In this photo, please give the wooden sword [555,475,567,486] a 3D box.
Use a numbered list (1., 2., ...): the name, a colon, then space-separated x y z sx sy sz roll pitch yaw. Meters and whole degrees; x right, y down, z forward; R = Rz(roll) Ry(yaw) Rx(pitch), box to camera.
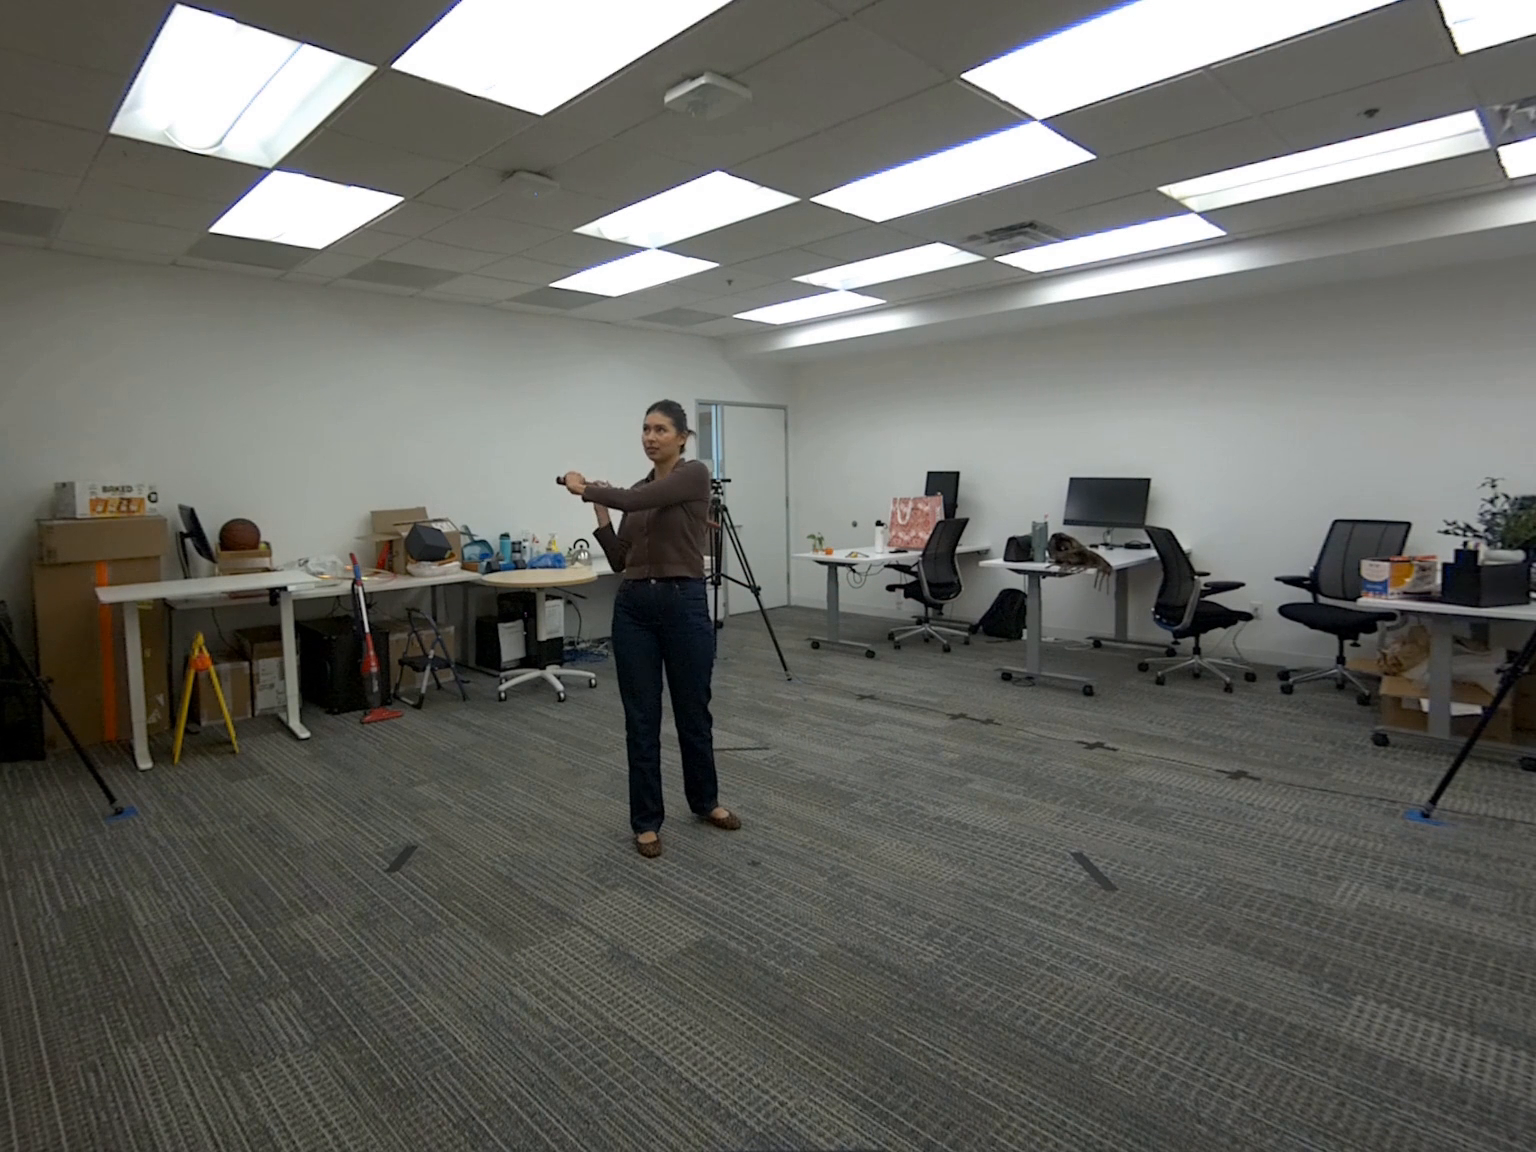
1. wooden sword: -0.482 -0.309 3.619 0.990 0.025 0.051 12 -43 -46
